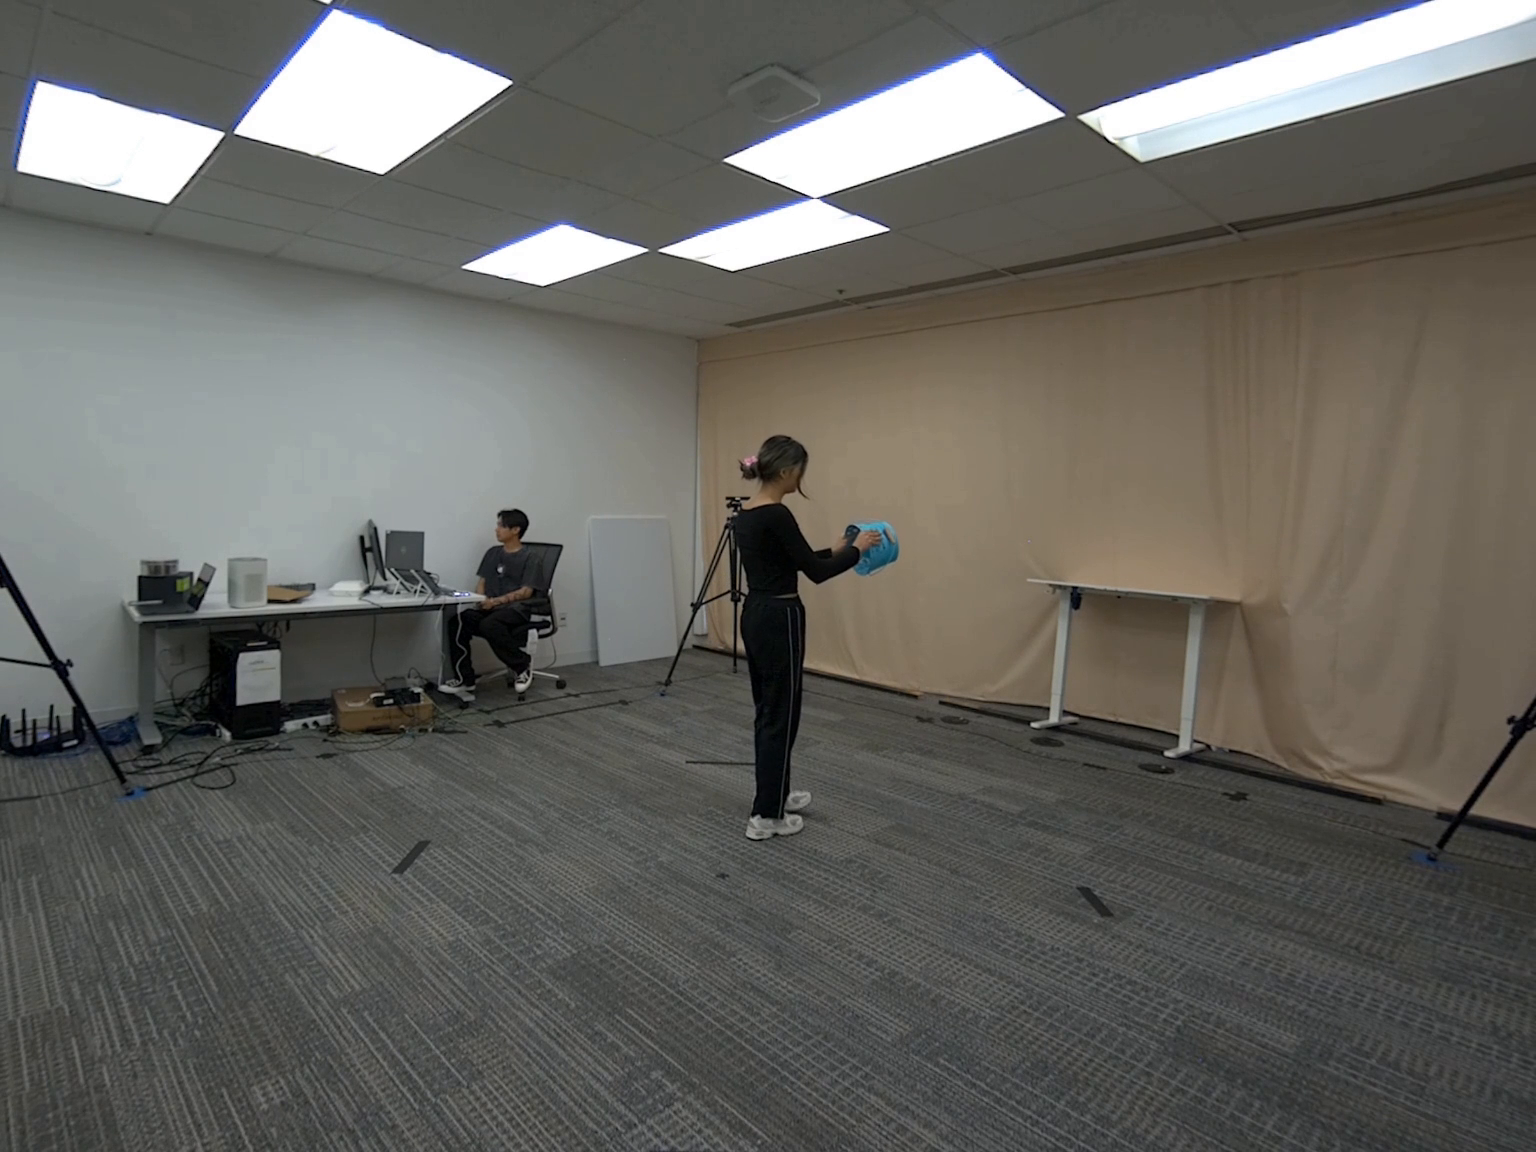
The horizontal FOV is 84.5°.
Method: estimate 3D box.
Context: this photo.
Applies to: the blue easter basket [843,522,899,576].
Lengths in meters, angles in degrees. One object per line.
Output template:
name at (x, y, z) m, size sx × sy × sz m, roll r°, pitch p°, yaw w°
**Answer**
blue easter basket at (0.443, -0.133, 3.651) m, size 0.154 × 0.242 × 0.247 m, roll -13°, pitch 8°, yaw -17°
